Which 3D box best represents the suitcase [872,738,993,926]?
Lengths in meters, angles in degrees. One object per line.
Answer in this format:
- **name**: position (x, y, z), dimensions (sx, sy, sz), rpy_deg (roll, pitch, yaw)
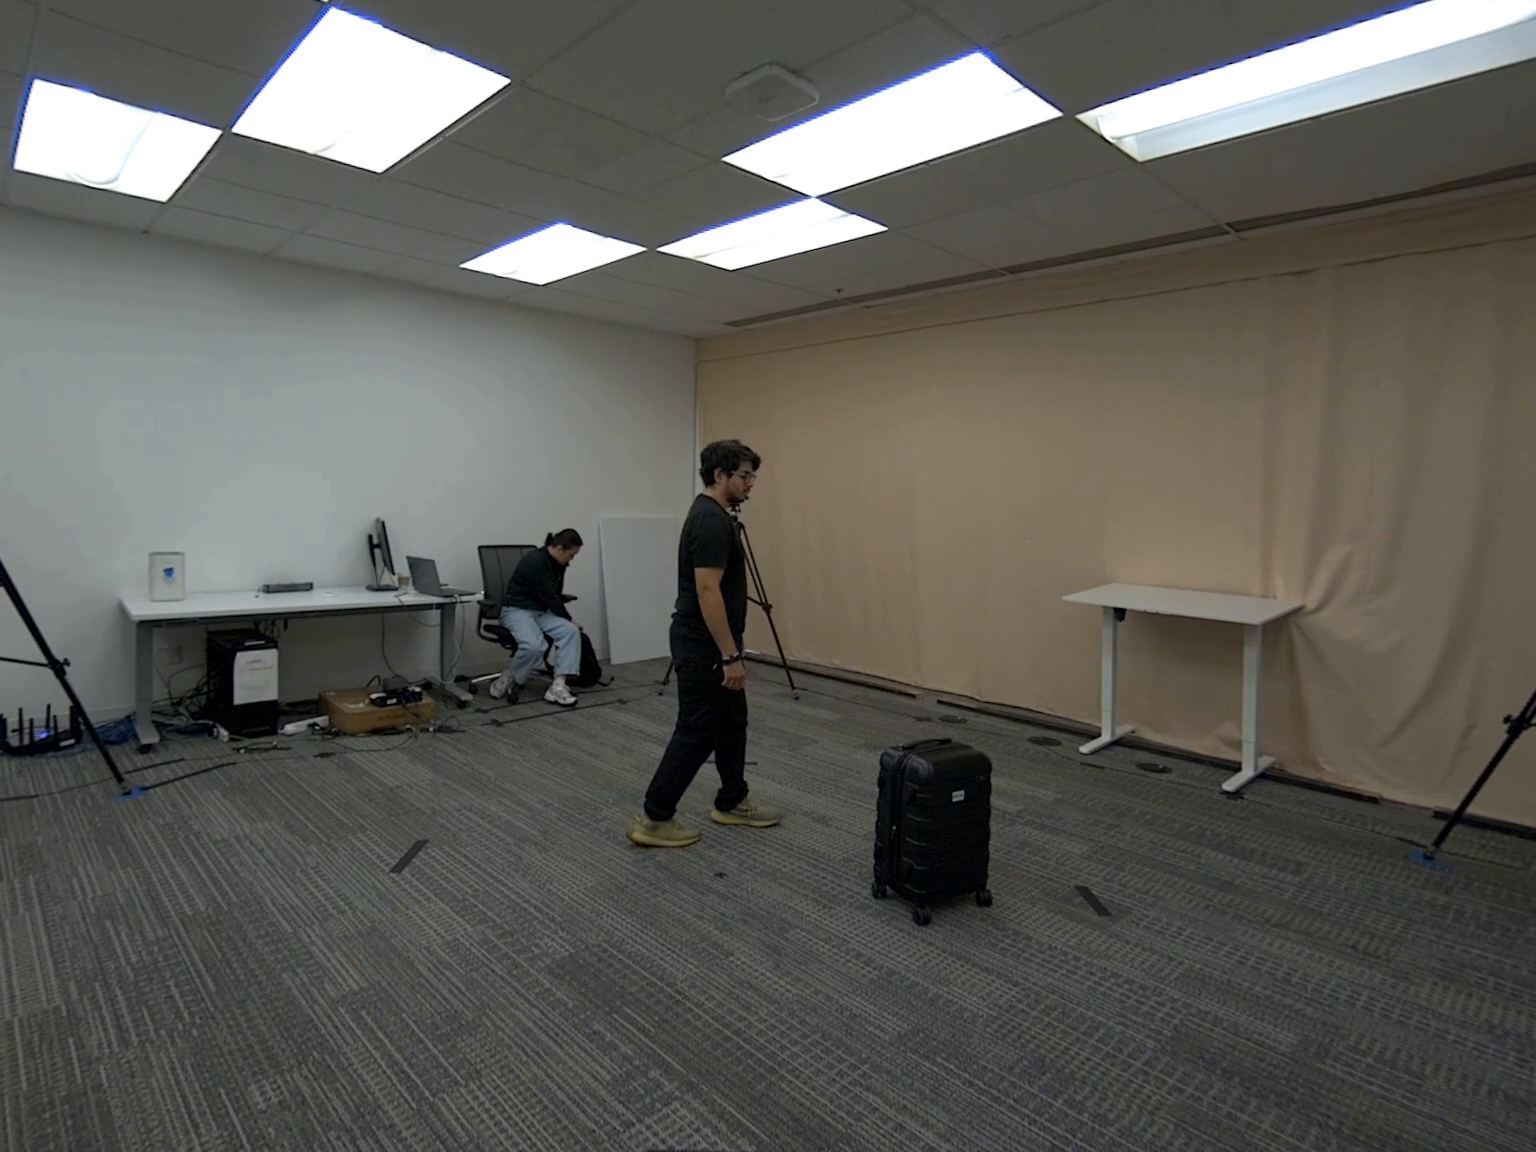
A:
- **suitcase**: position (0.578, 0.859, 2.942), dimensions (0.367, 0.548, 0.254), rpy_deg (0, 3, -31)
